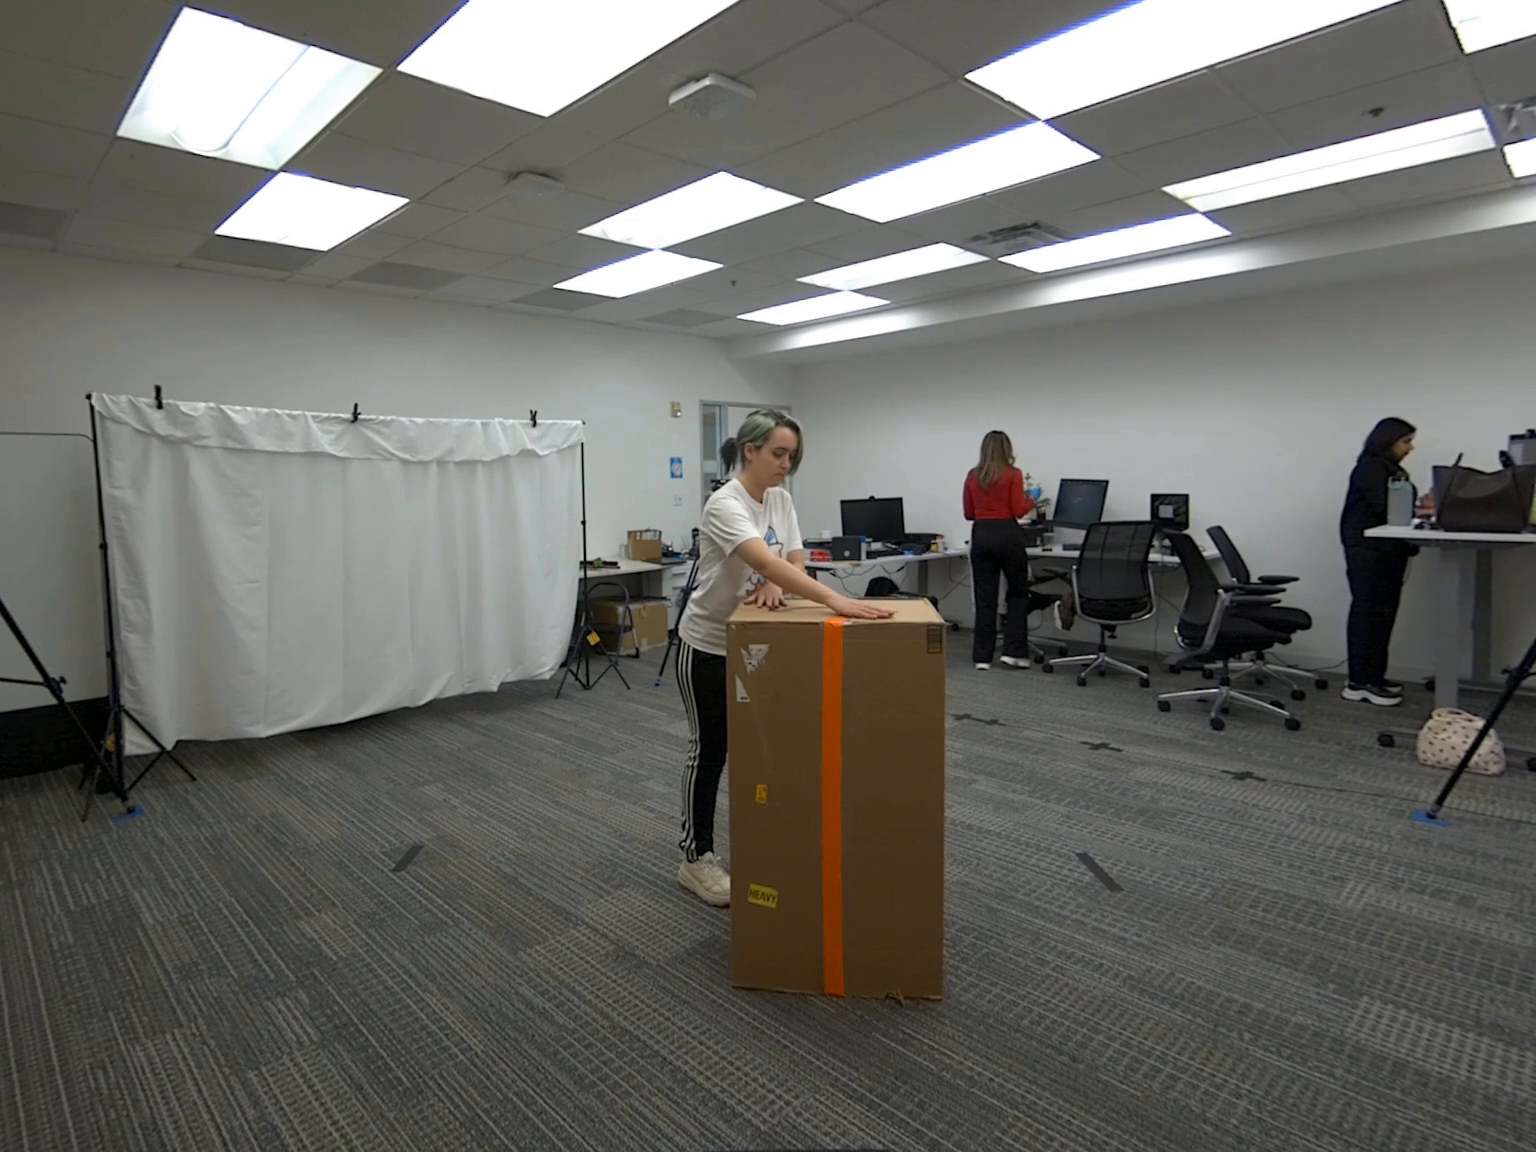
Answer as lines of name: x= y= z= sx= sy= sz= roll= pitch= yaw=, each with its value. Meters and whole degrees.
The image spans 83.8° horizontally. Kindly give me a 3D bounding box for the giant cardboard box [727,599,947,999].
giant cardboard box: x=0.200 y=0.606 z=2.484 sx=0.588 sy=1.024 sz=0.445 roll=0 pitch=4 yaw=6
